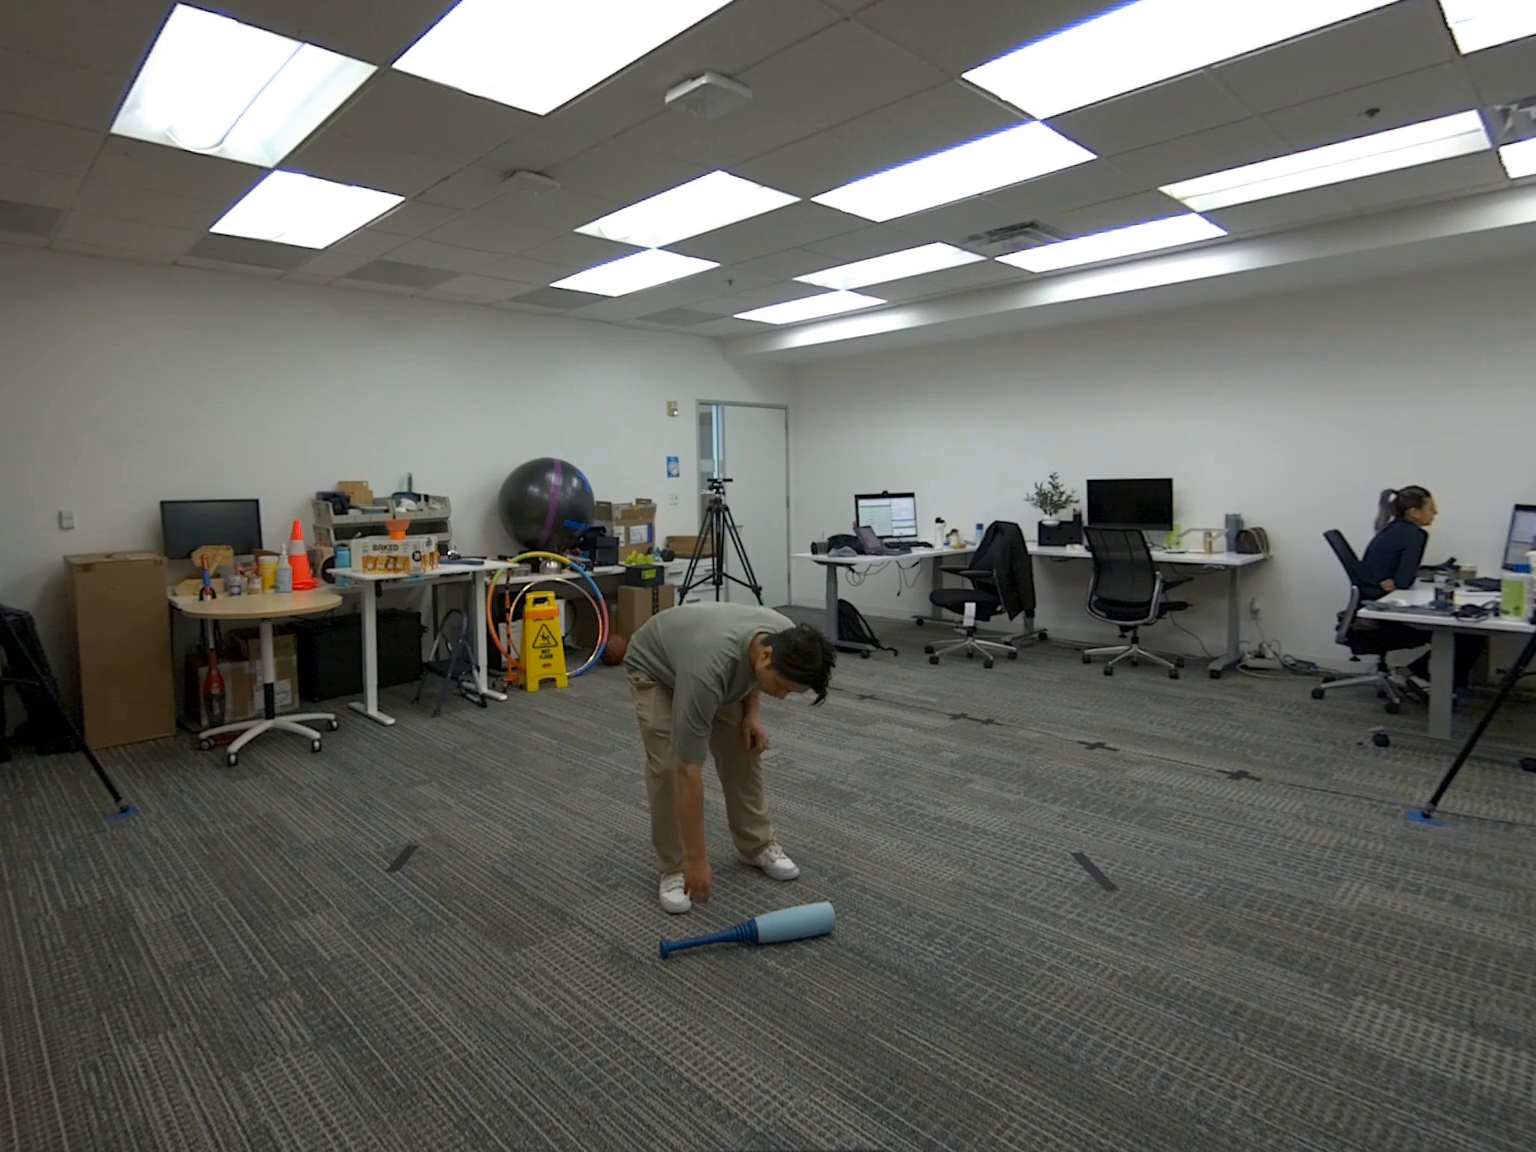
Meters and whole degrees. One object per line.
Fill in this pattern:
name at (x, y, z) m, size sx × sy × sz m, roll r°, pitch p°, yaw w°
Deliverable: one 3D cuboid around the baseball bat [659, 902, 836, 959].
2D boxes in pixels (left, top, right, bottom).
baseball bat at (-0.053, 1.068, 2.569) m, size 0.537 × 0.089 × 0.090 m, roll -4°, pitch 5°, yaw -13°
